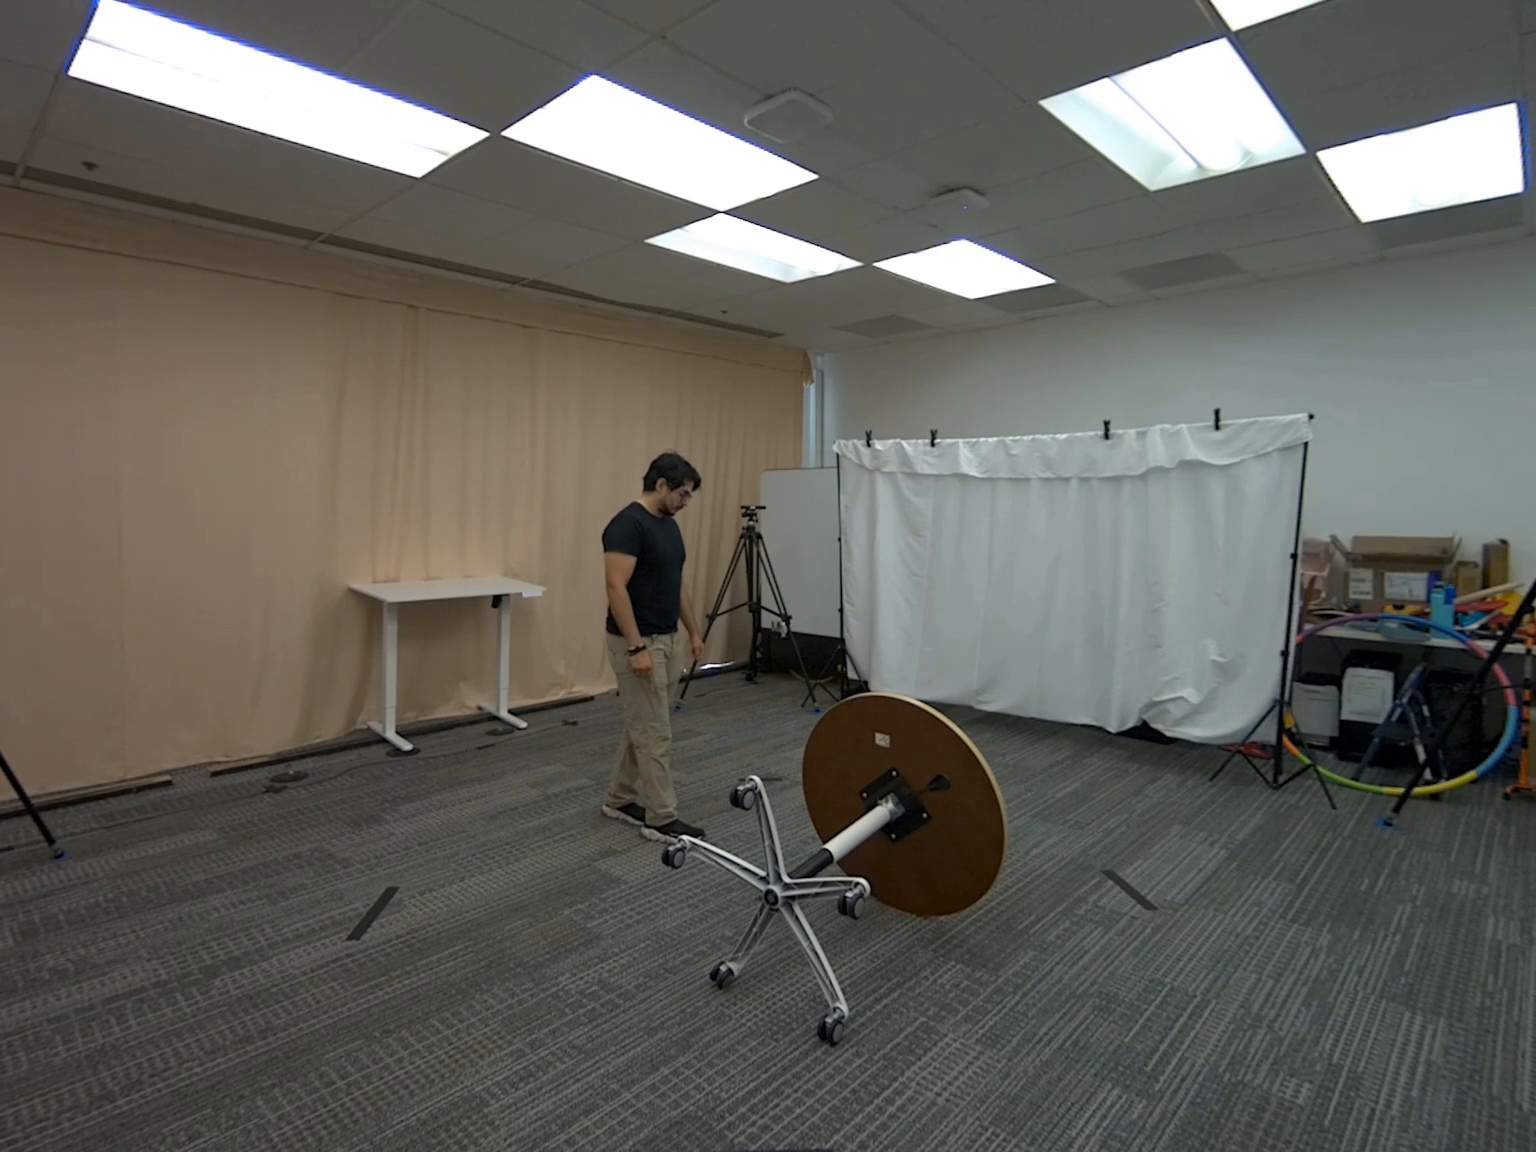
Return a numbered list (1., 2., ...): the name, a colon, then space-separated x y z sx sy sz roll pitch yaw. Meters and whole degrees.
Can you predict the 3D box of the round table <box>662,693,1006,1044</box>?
1. round table: 0.205 0.846 2.572 0.811 0.780 0.766 3 12 40
